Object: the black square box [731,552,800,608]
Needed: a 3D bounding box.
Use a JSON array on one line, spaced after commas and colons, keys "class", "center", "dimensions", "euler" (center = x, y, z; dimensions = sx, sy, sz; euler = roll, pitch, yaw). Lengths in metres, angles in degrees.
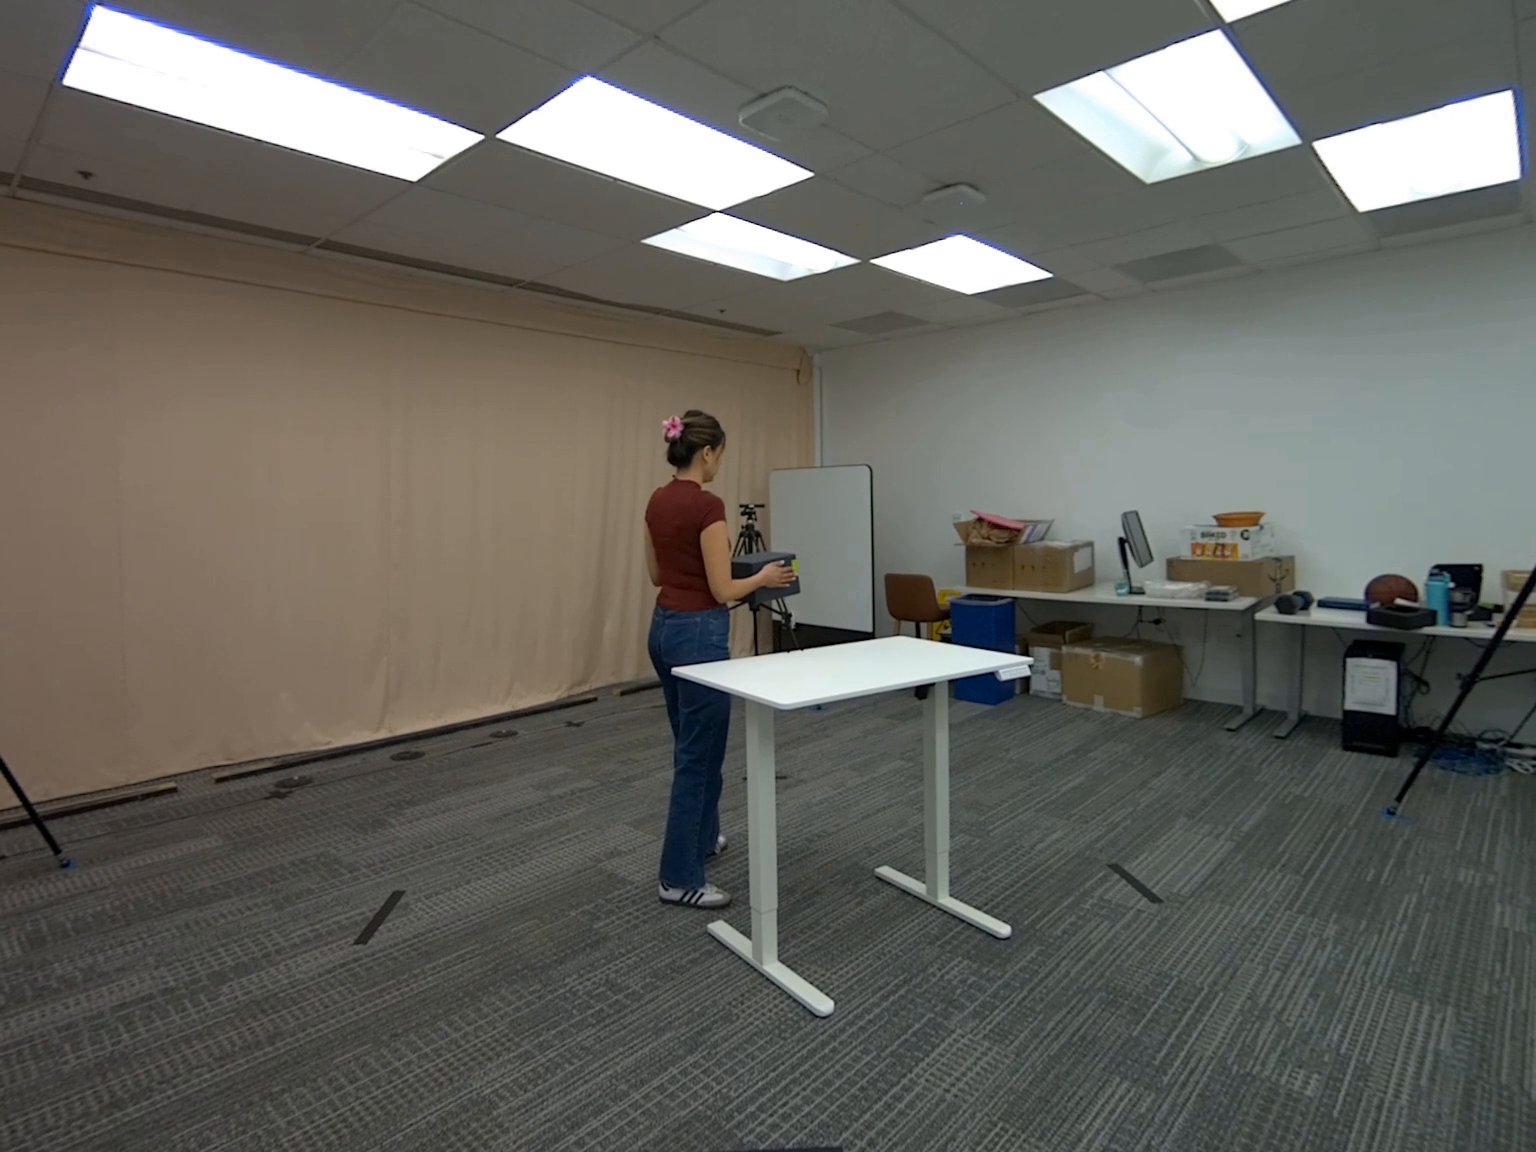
[{"class": "black square box", "center": [-0.035, -0.001, 3.267], "dimensions": [0.211, 0.155, 0.235], "euler": [-11, 10, -32]}]
